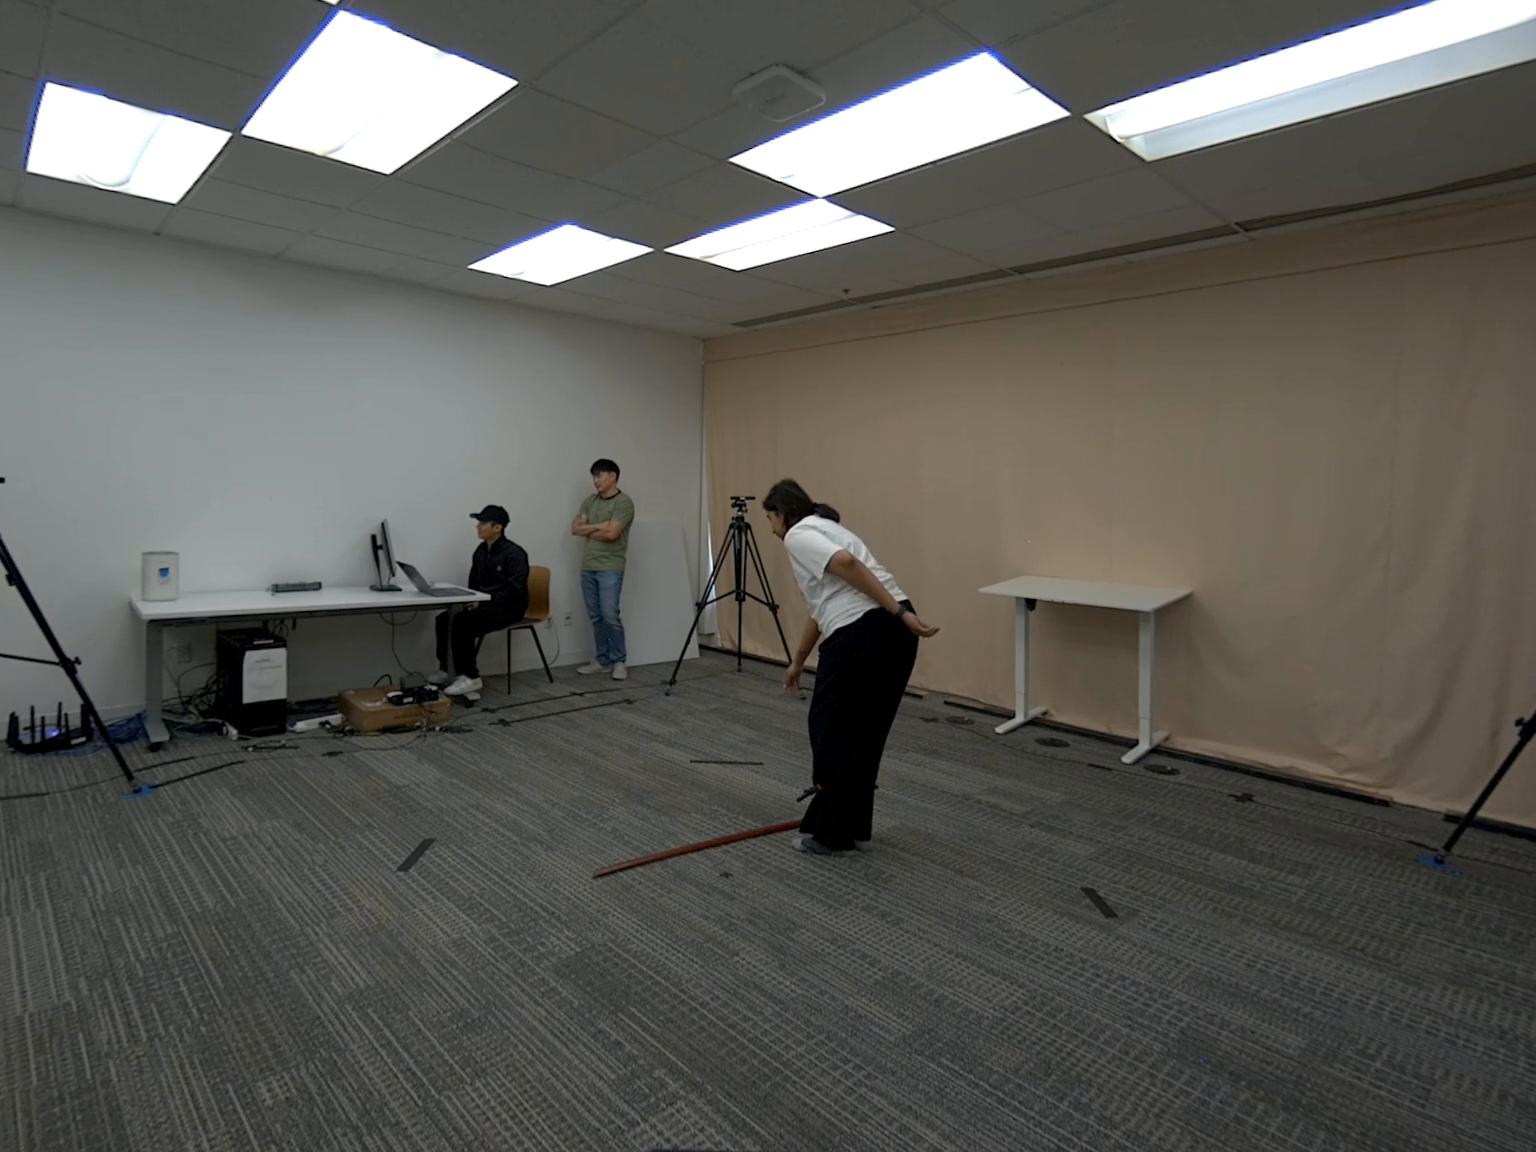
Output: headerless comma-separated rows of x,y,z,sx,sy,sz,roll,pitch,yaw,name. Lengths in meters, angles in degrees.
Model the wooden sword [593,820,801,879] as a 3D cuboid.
-0.229,1.060,3.341,1.003,0.024,0.052,-3,5,-35,wooden sword
